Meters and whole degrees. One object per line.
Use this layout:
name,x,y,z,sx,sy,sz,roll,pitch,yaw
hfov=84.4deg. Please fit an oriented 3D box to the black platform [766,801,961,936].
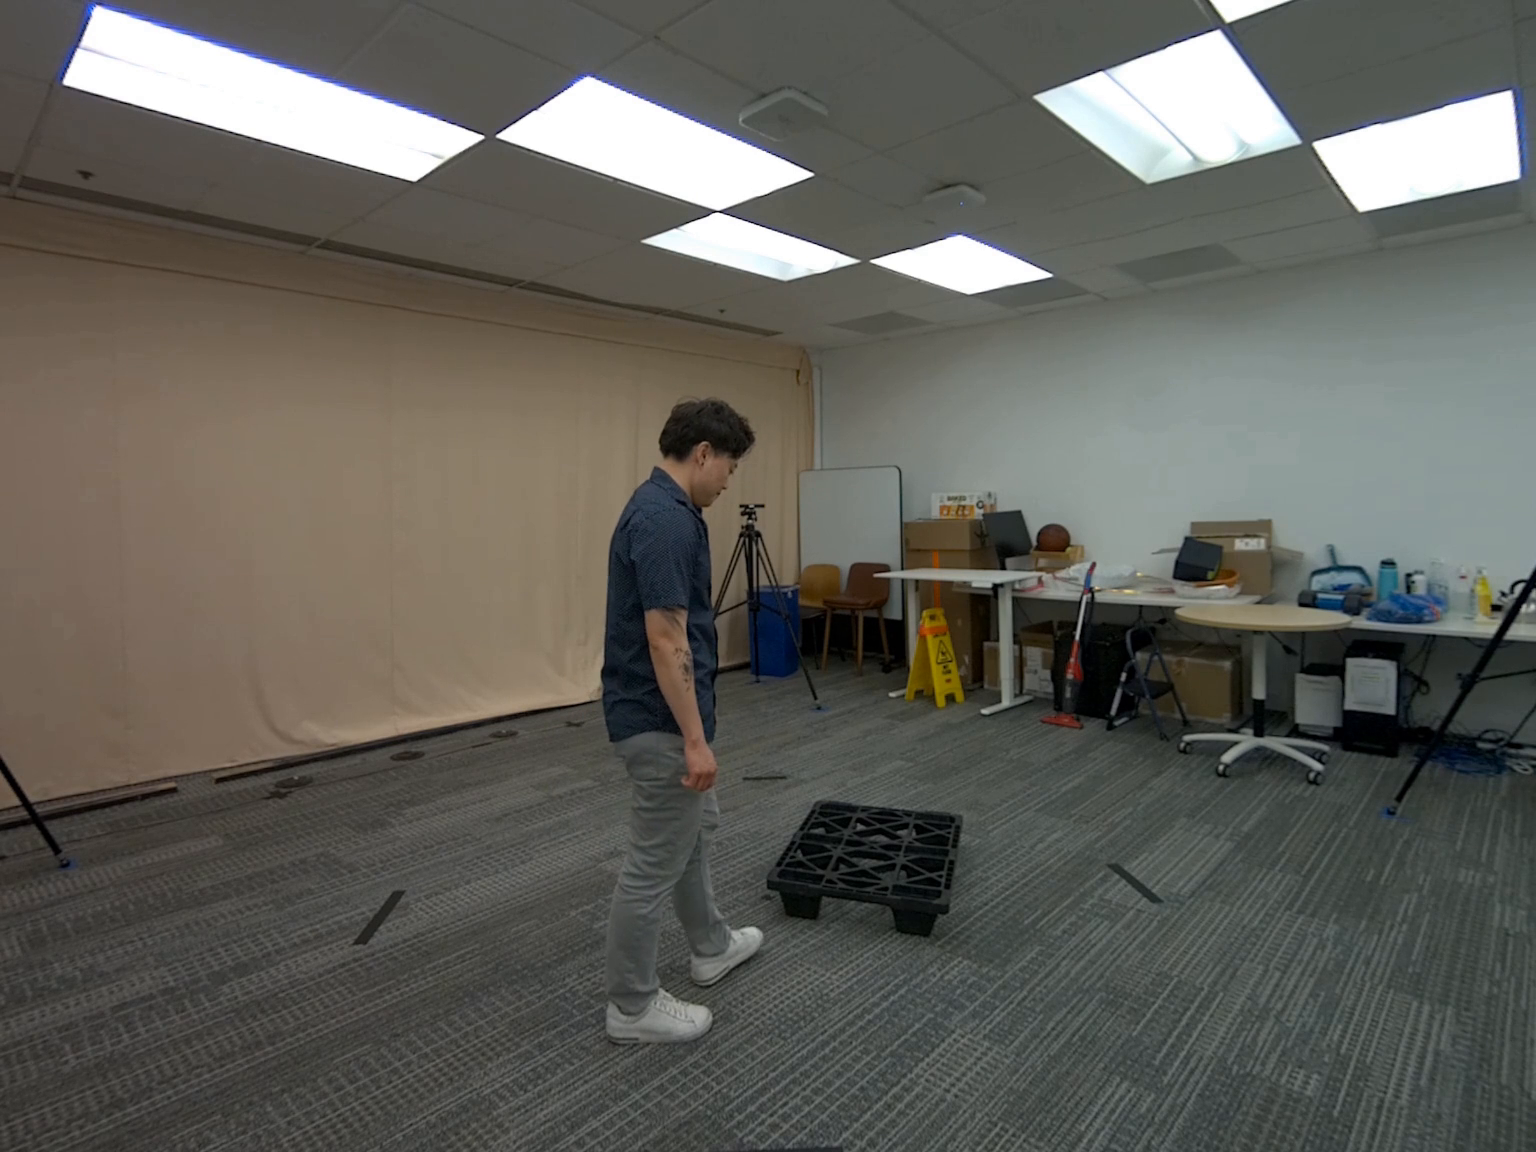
black platform,0.394,1.052,3.107,0.617,0.143,0.792,1,6,17
